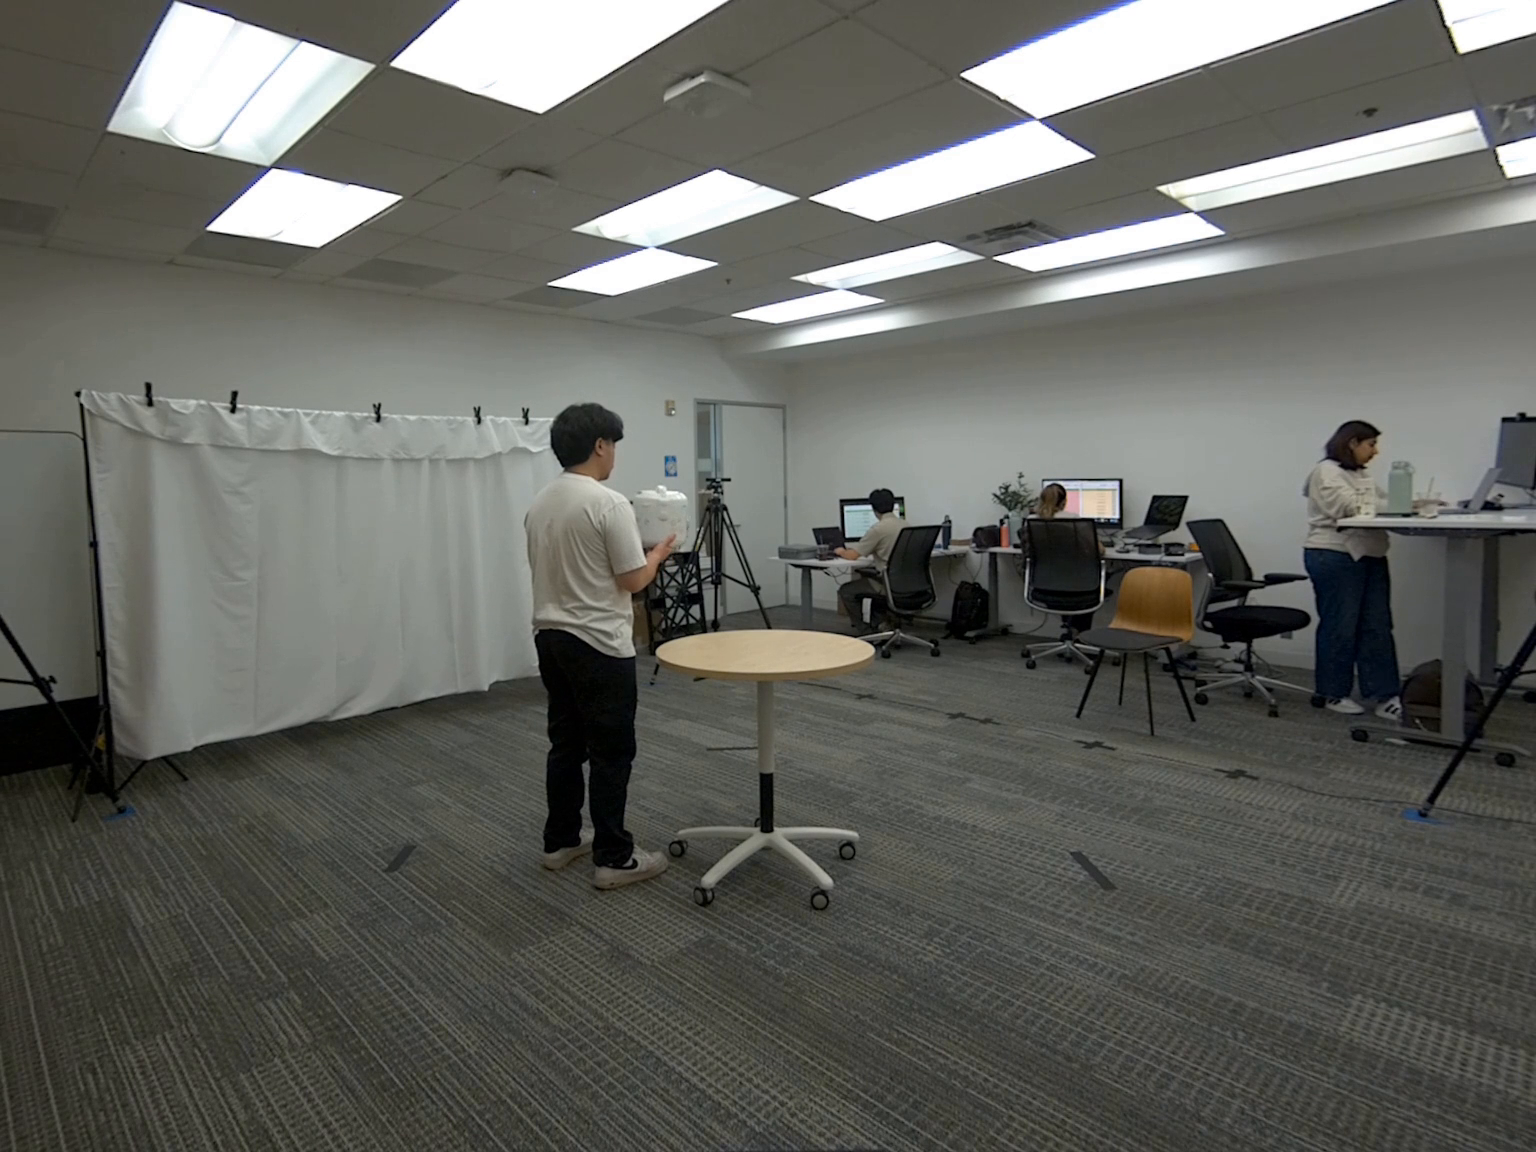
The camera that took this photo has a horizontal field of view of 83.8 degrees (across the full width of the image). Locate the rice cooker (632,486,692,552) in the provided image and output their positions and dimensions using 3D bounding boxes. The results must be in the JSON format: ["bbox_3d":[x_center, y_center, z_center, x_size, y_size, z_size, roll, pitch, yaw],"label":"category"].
[{"bbox_3d":[-0.414,-0.228,3.266,0.215,0.231,0.224,1,7,-13],"label":"rice cooker"}]
